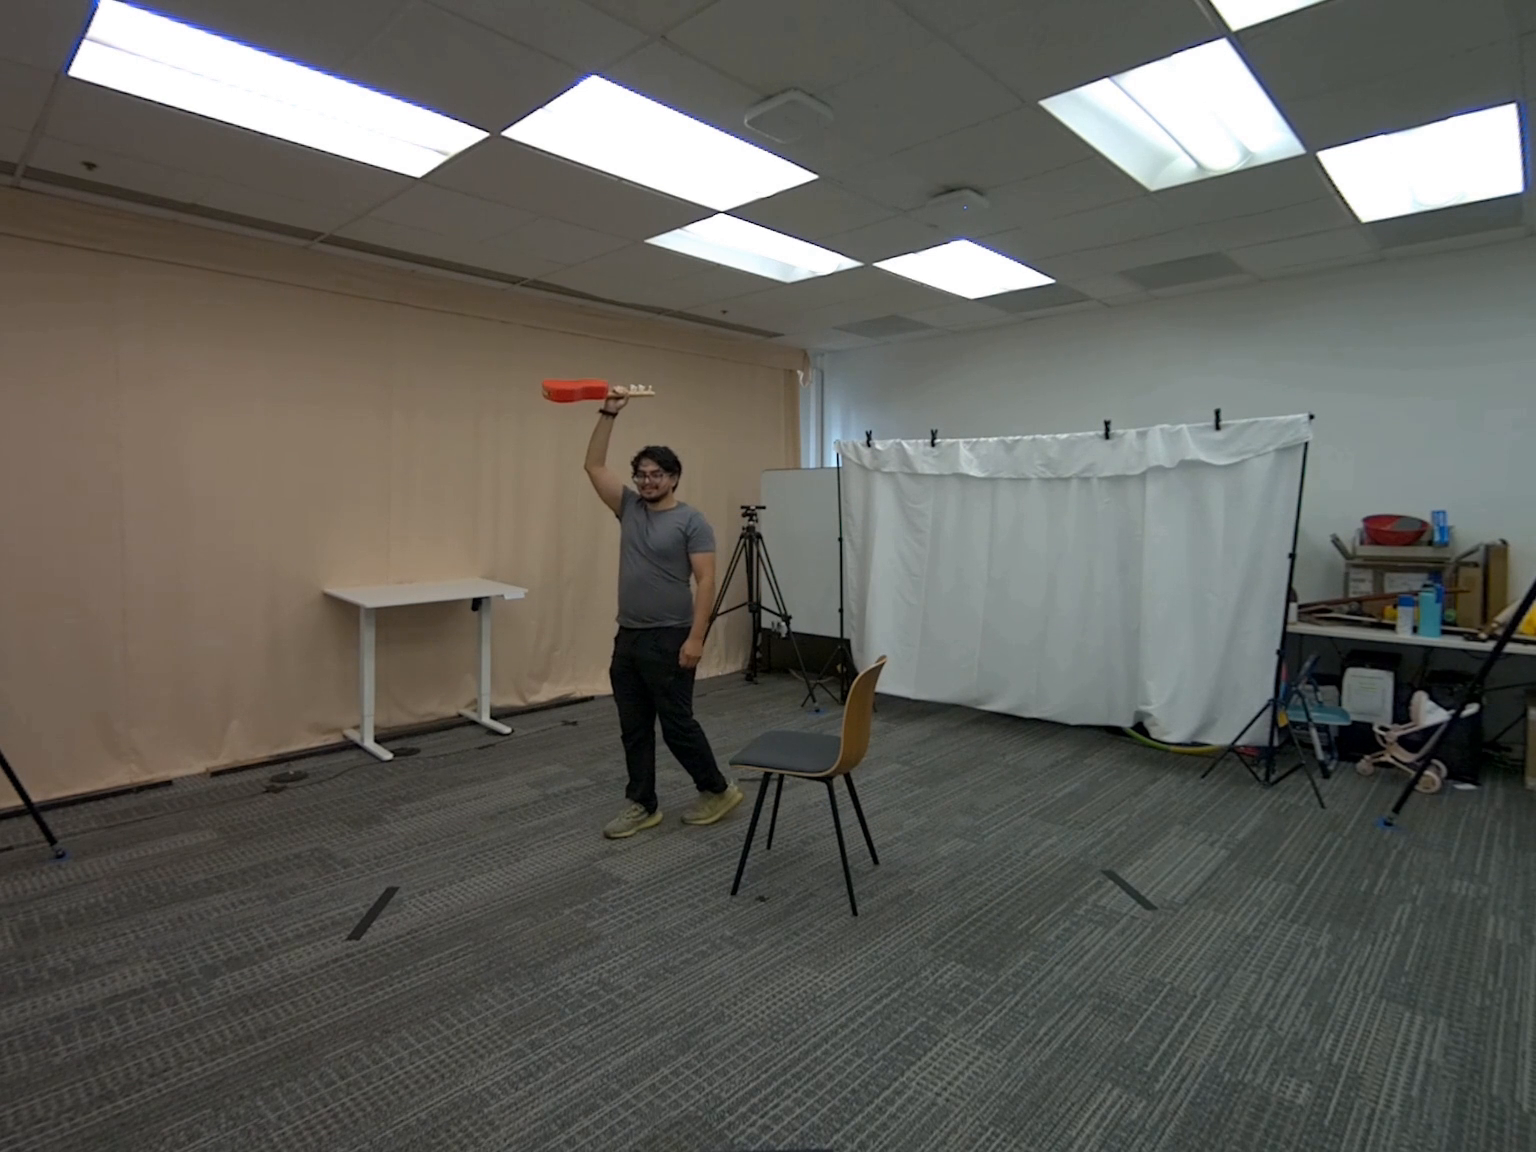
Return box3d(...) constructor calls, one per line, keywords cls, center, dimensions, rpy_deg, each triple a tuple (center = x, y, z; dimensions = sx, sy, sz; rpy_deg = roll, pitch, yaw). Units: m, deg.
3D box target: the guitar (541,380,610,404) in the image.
box3d(cls="guitar", center=(-0.726, -0.798, 3.580), dimensions=(0.485, 0.070, 0.200), rpy_deg=(-15, 29, -38))
